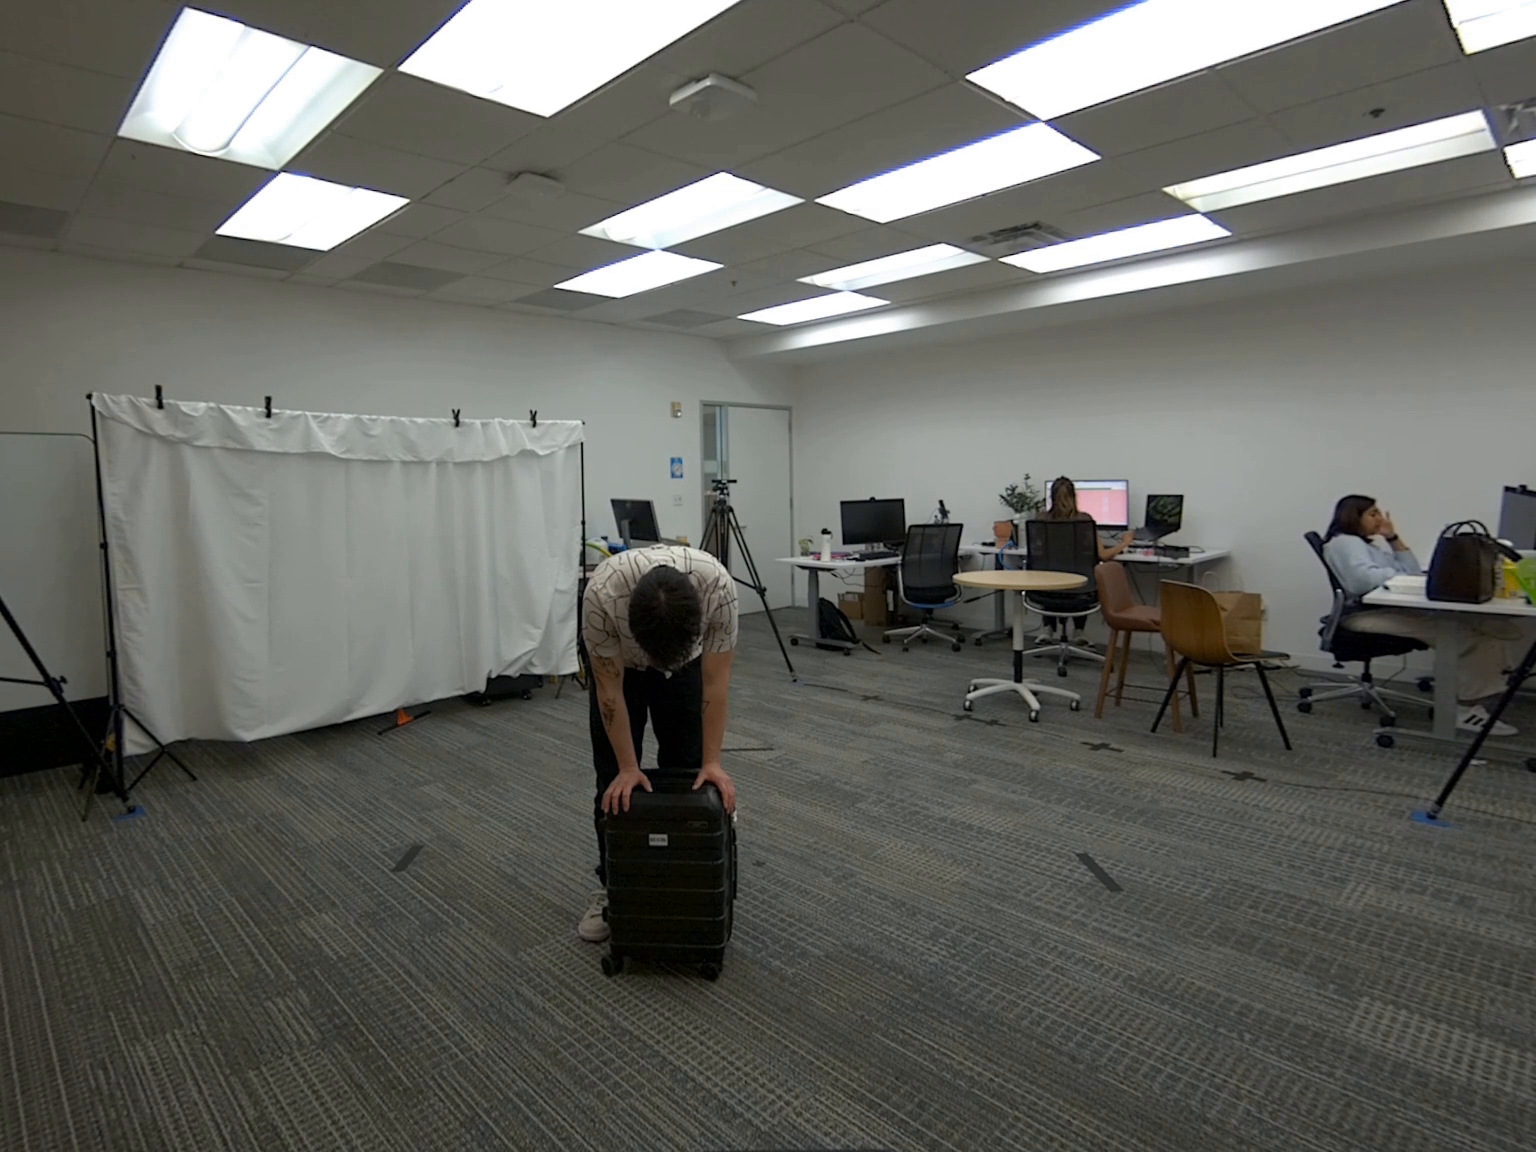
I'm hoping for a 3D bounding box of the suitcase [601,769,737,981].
[{"bbox_3d":[-0.280,0.854,2.491,0.377,0.545,0.249,0,8,4],"label":"suitcase"}]
